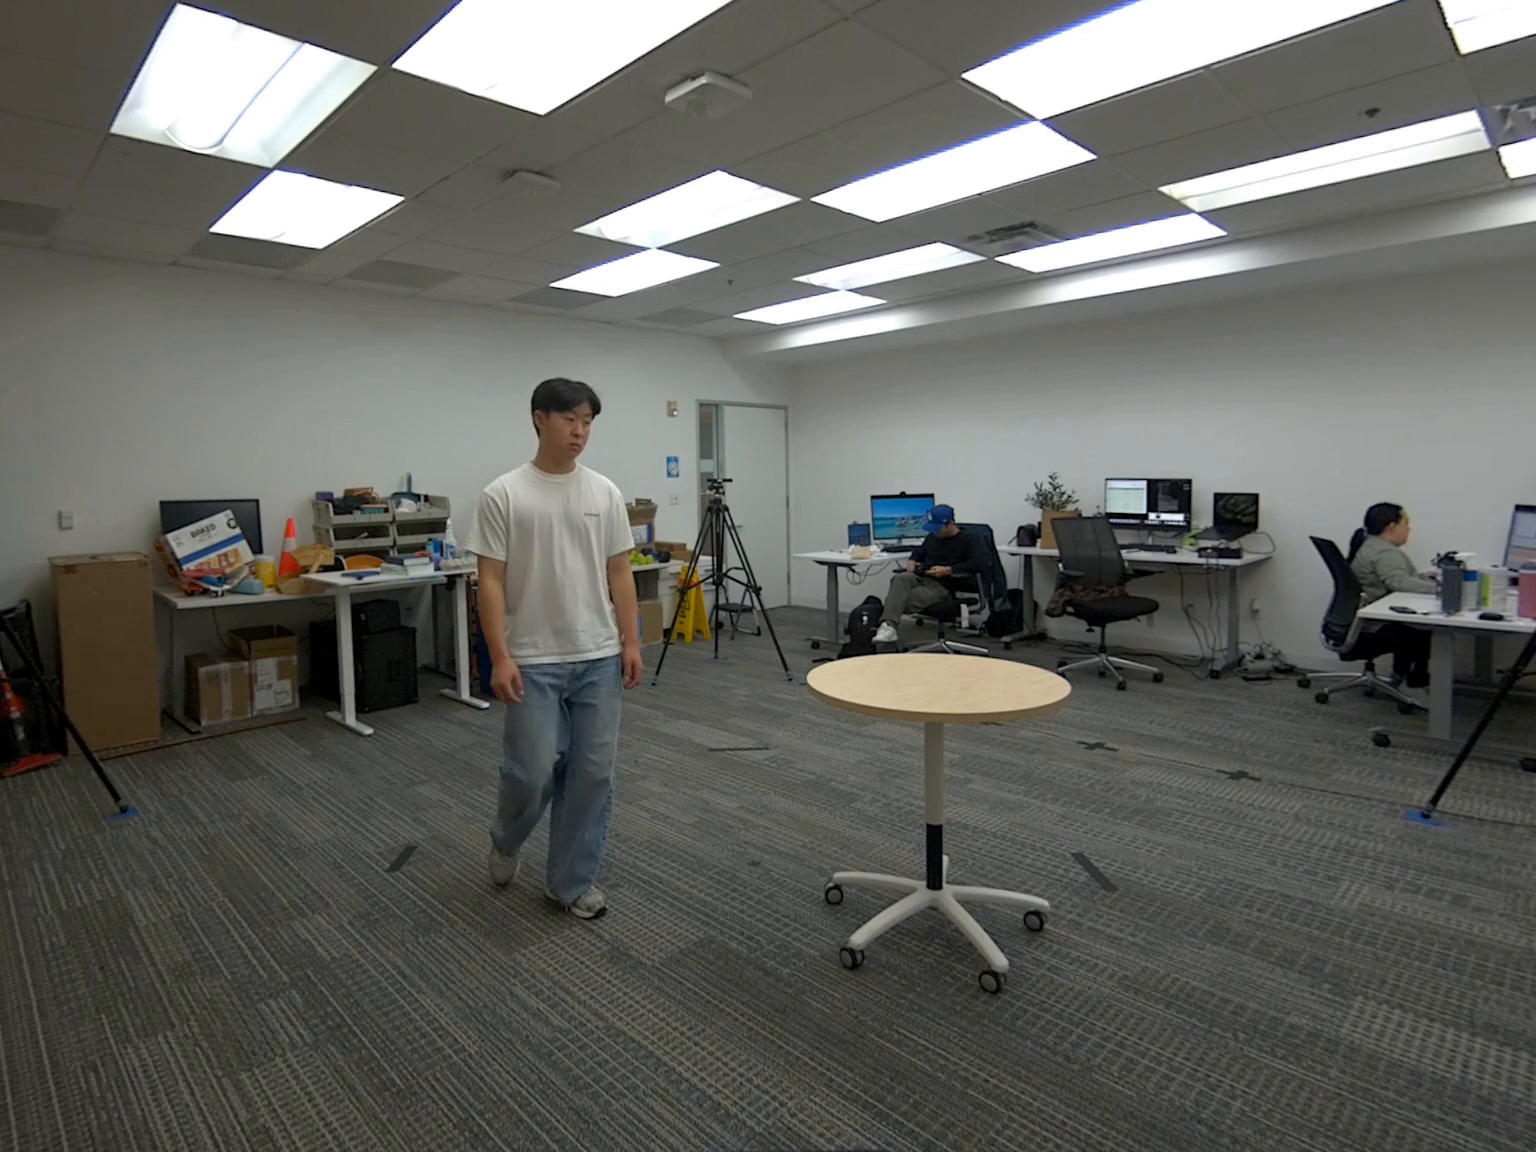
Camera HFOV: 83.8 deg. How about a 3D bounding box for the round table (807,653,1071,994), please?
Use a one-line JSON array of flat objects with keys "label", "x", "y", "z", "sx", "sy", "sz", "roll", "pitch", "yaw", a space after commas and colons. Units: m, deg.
[{"label": "round table", "x": 0.505, "y": 0.702, "z": 2.604, "sx": 0.763, "sy": 0.791, "sz": 0.768, "roll": -1, "pitch": 5, "yaw": -2}]
